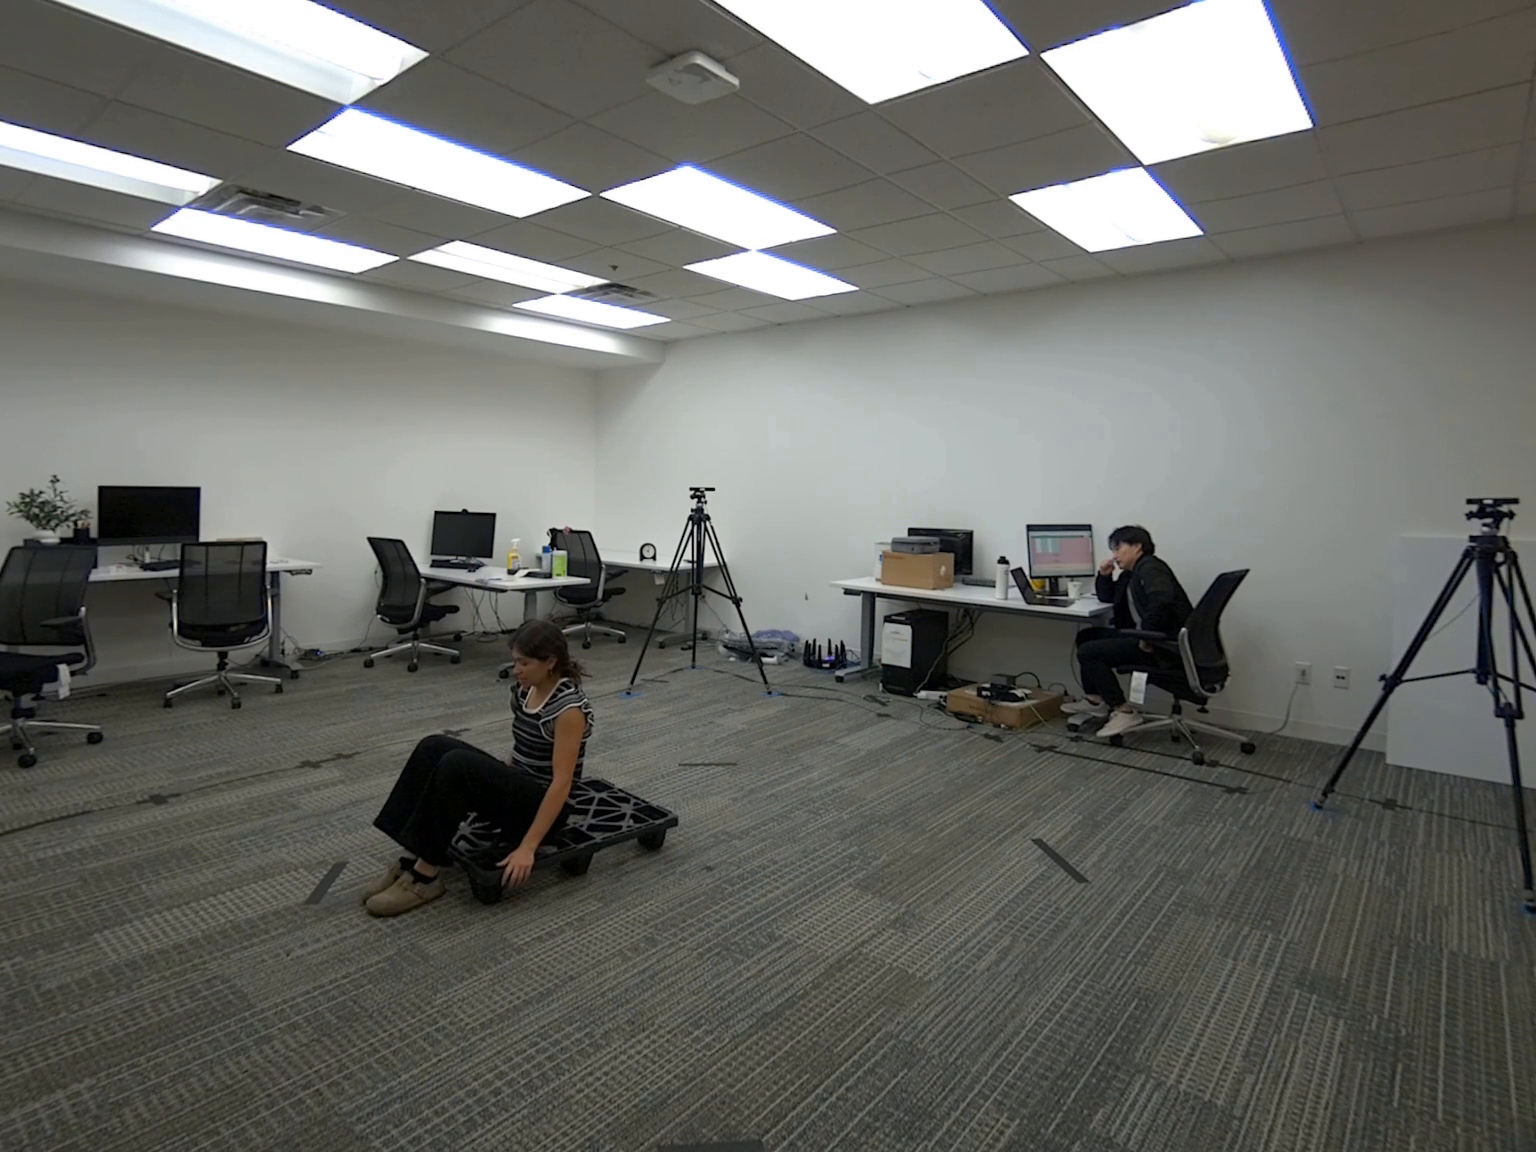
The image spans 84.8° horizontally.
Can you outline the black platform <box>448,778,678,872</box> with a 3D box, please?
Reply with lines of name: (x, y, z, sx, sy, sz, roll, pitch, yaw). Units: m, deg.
black platform: (-0.841, 0.977, 3.217, 0.782, 0.143, 0.625, -5, 7, -42)
